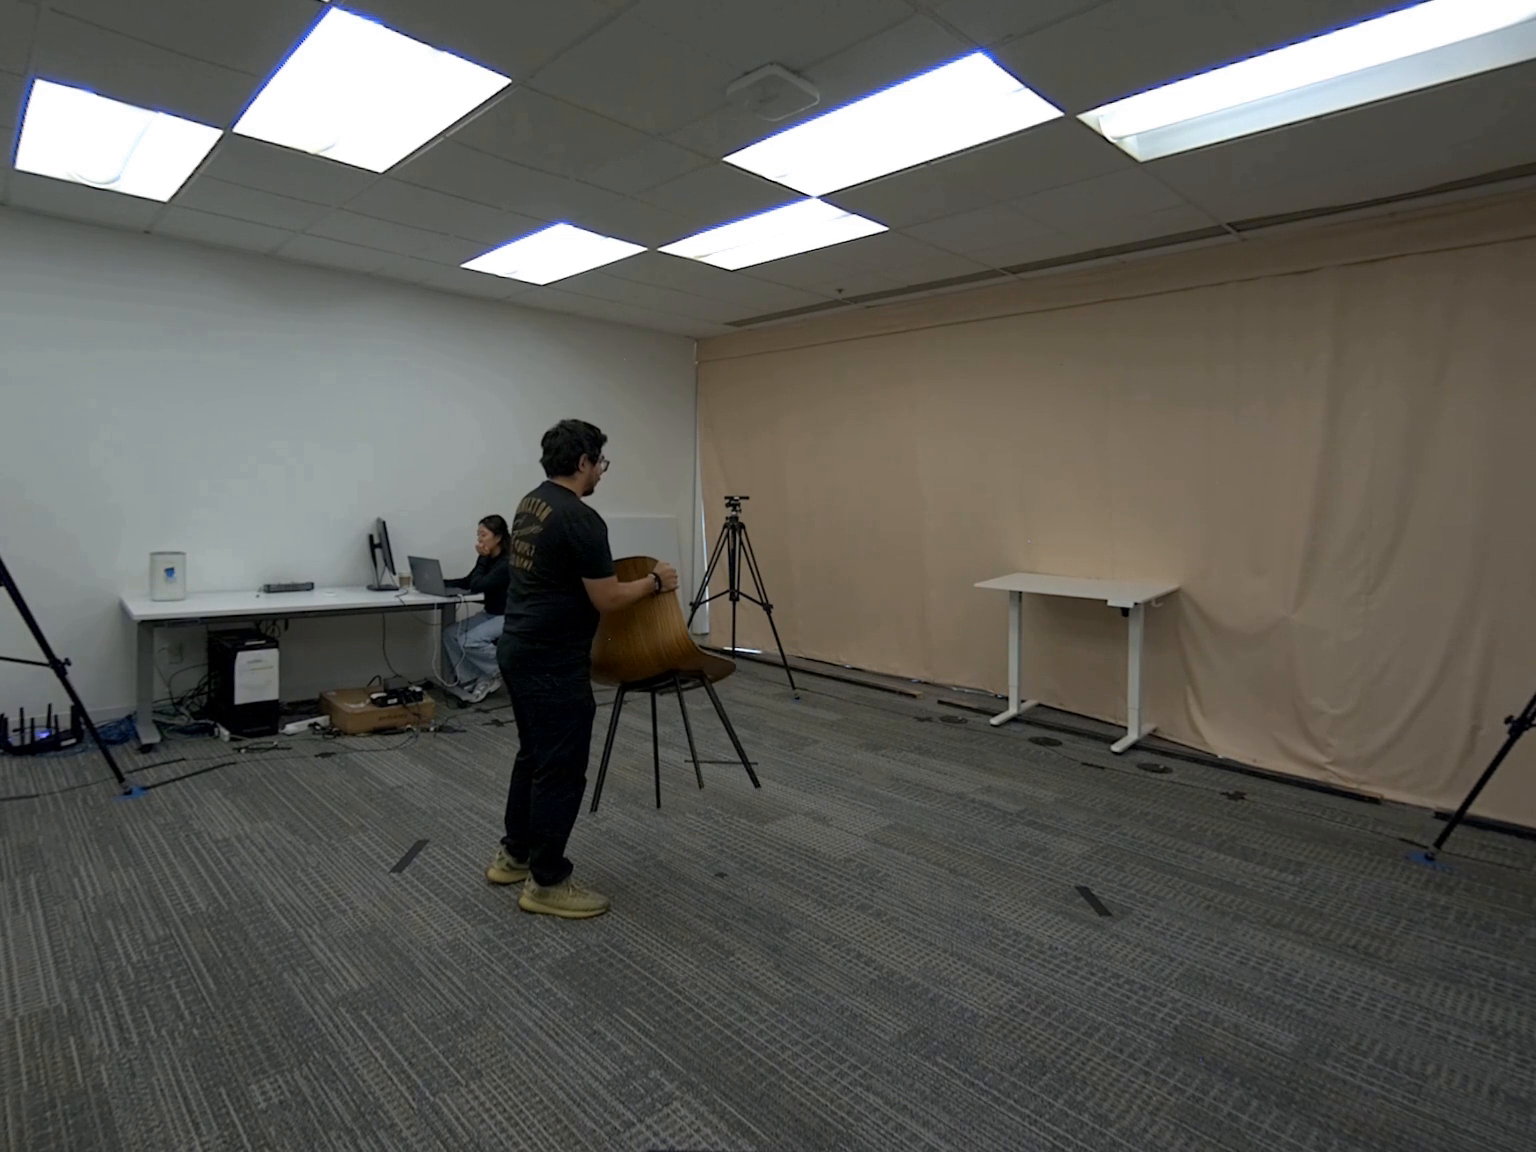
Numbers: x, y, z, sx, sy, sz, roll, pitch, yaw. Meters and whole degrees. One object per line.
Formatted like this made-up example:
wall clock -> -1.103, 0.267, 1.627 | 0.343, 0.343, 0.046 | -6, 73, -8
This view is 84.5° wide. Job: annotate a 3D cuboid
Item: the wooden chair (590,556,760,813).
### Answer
wooden chair -> -0.400, 0.406, 3.143 | 0.483, 0.890, 0.510 | -19, -17, 21
